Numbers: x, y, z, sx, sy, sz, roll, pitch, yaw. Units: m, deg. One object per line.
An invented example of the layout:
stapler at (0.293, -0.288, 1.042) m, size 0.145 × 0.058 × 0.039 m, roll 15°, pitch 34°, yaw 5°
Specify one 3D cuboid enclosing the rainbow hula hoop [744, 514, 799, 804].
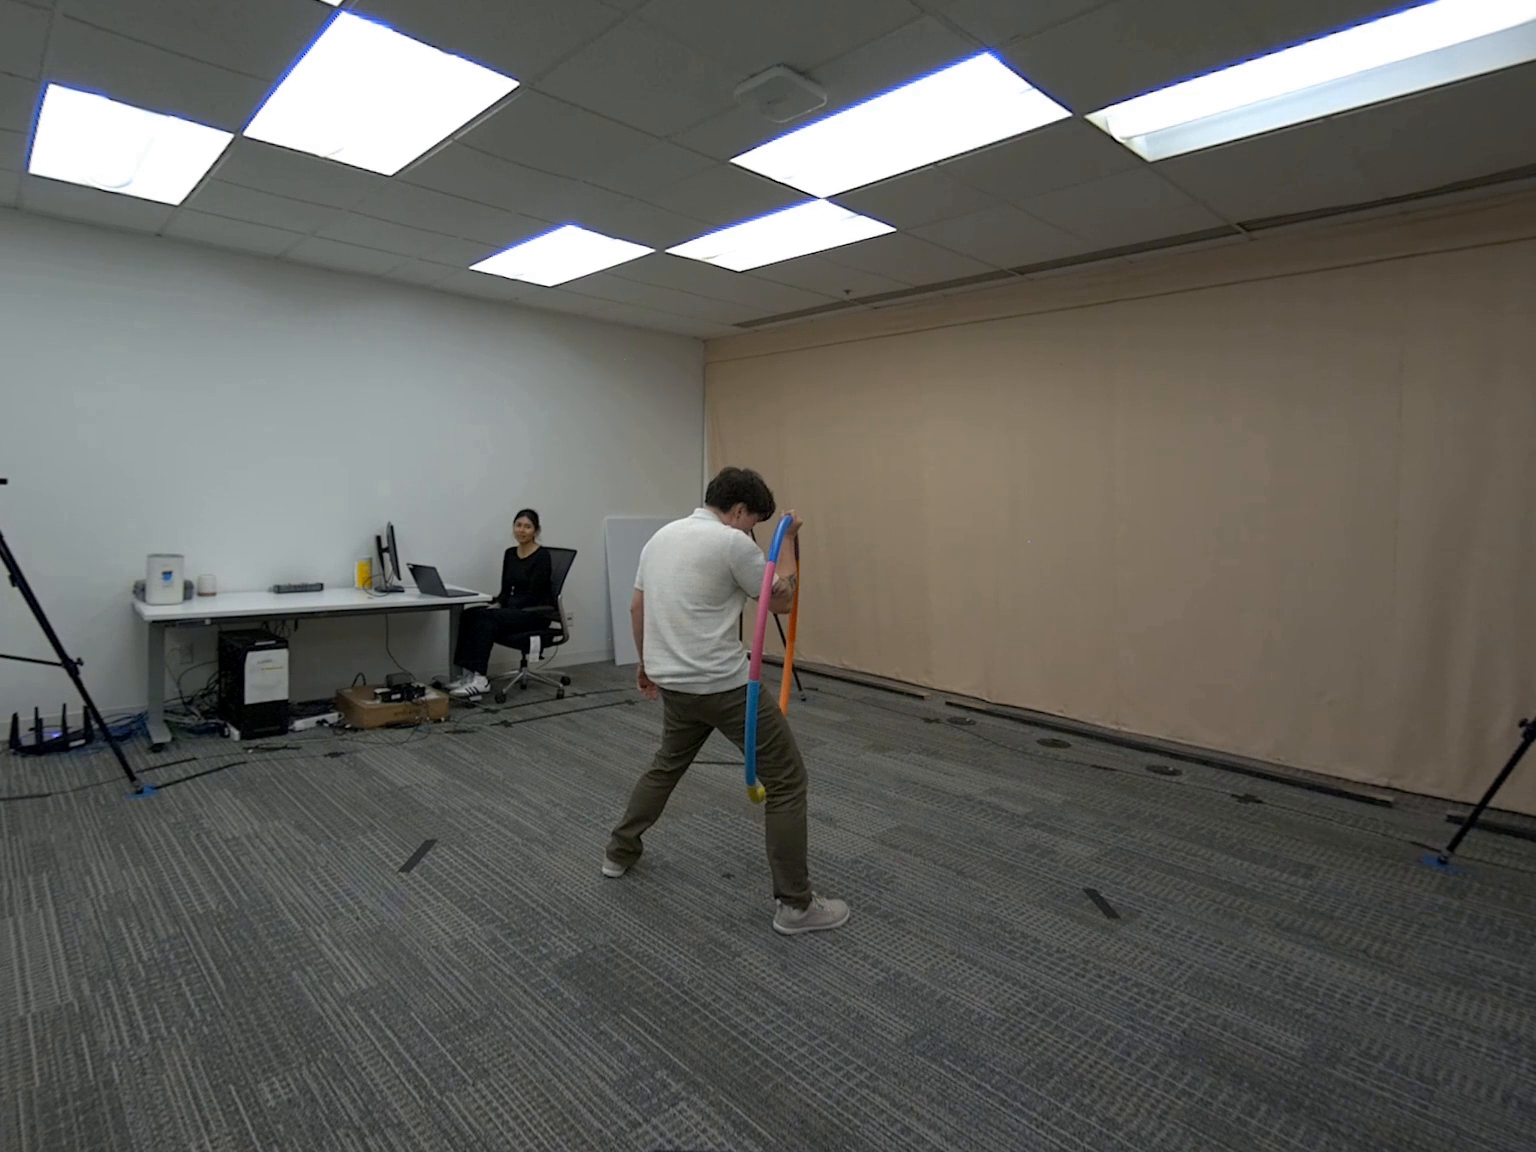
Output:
rainbow hula hoop at (0.017, 0.278, 2.927) m, size 0.036 × 0.976 × 0.974 m, roll 5°, pitch 5°, yaw 8°
